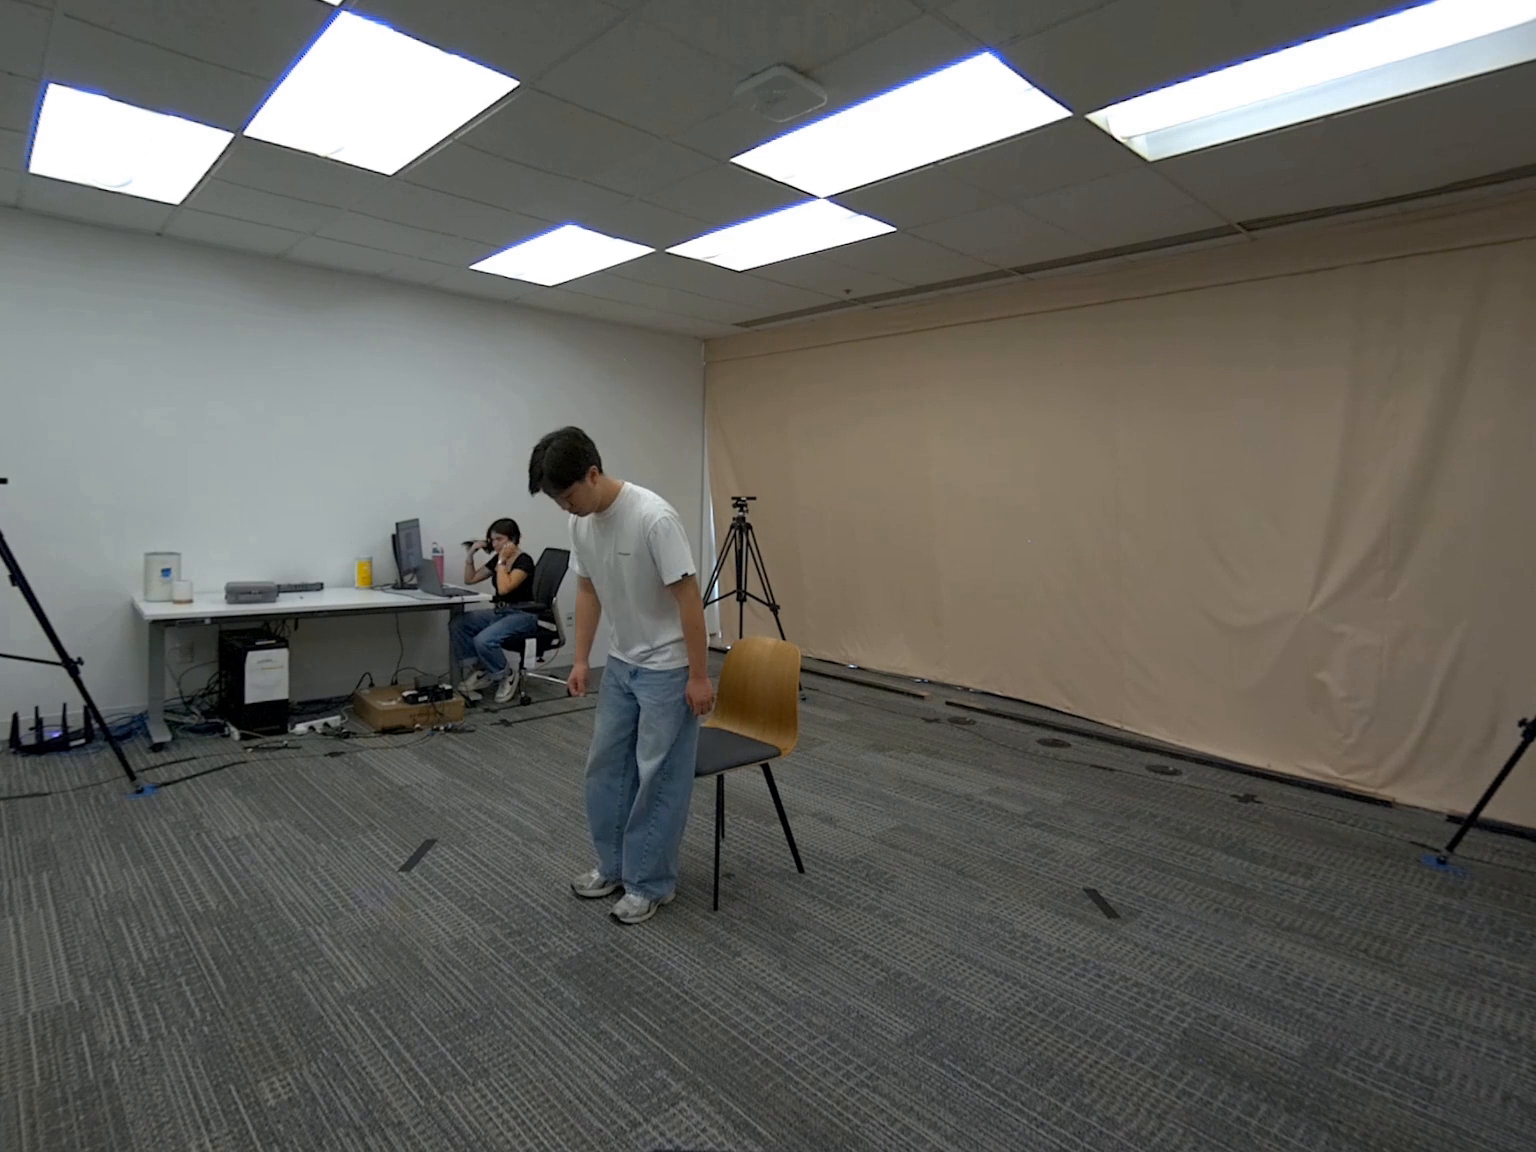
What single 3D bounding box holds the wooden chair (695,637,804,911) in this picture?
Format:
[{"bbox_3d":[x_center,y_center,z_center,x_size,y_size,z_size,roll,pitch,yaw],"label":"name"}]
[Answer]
[{"bbox_3d":[-0.177,0.679,3.114,0.510,0.877,0.490,4,1,-45],"label":"wooden chair"}]
